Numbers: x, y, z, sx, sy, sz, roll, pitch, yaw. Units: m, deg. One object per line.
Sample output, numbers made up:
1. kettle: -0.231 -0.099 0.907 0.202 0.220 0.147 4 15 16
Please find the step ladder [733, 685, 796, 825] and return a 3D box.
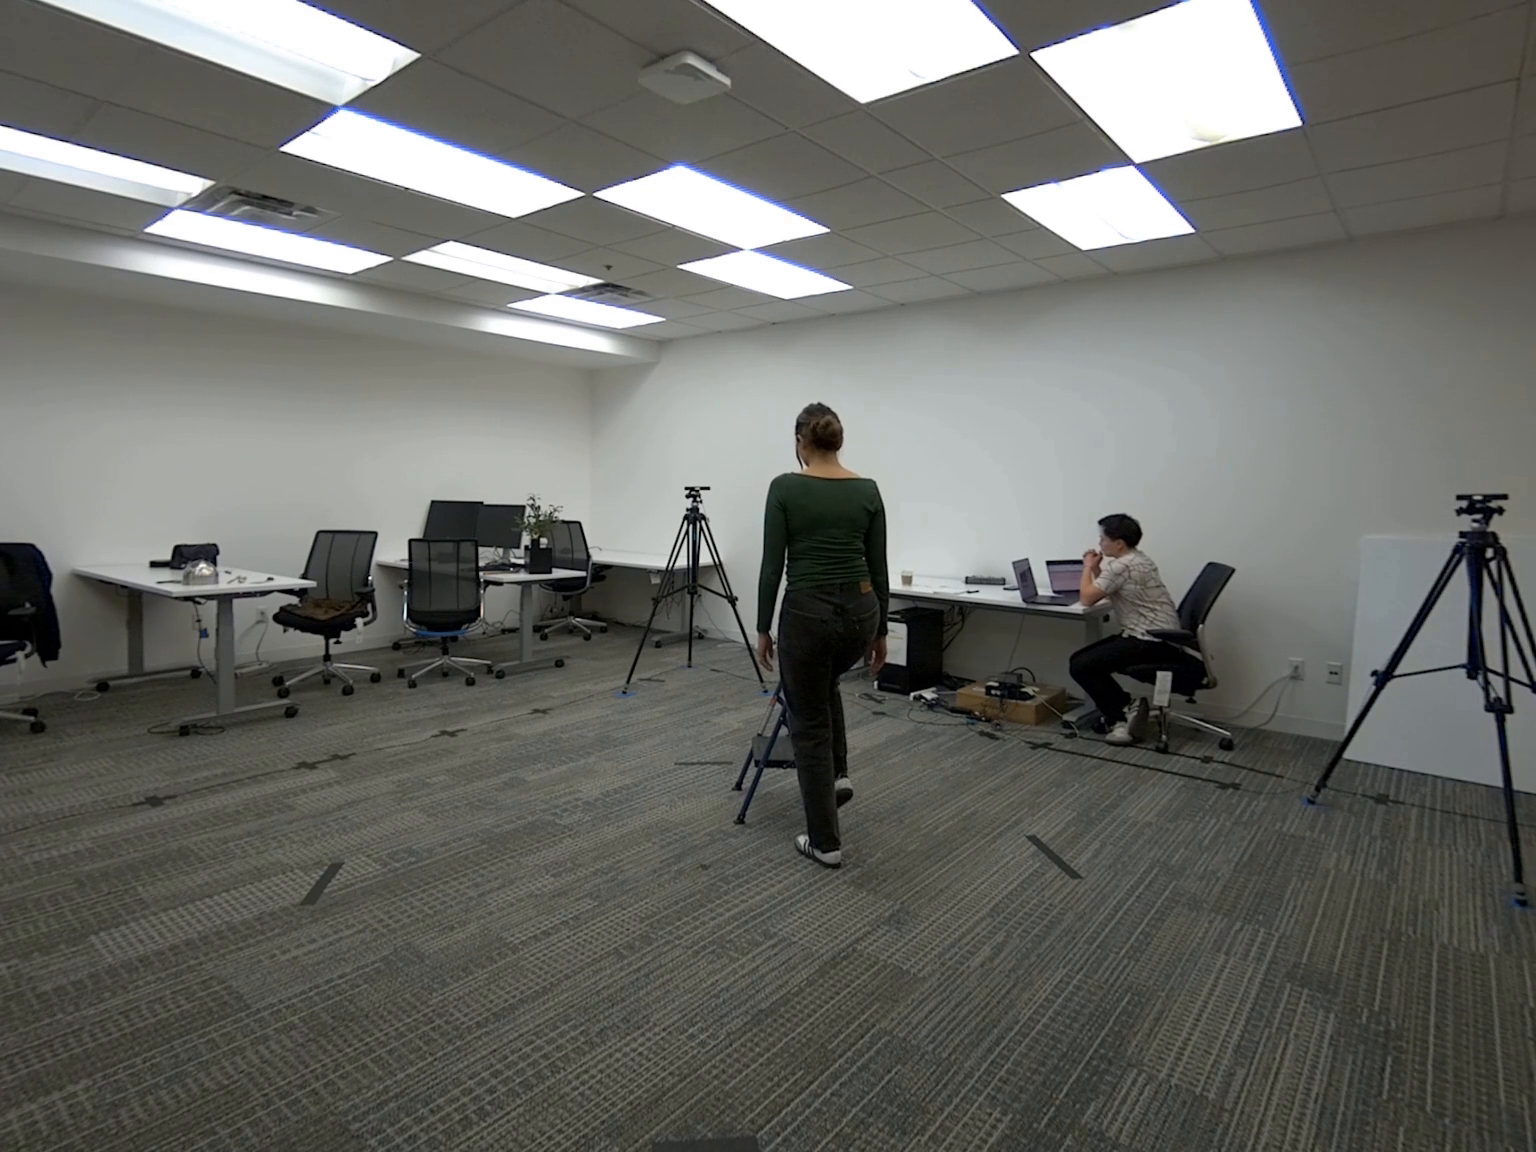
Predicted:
1. step ladder: 0.019 0.707 3.721 0.349 0.604 0.433 0 4 -2
